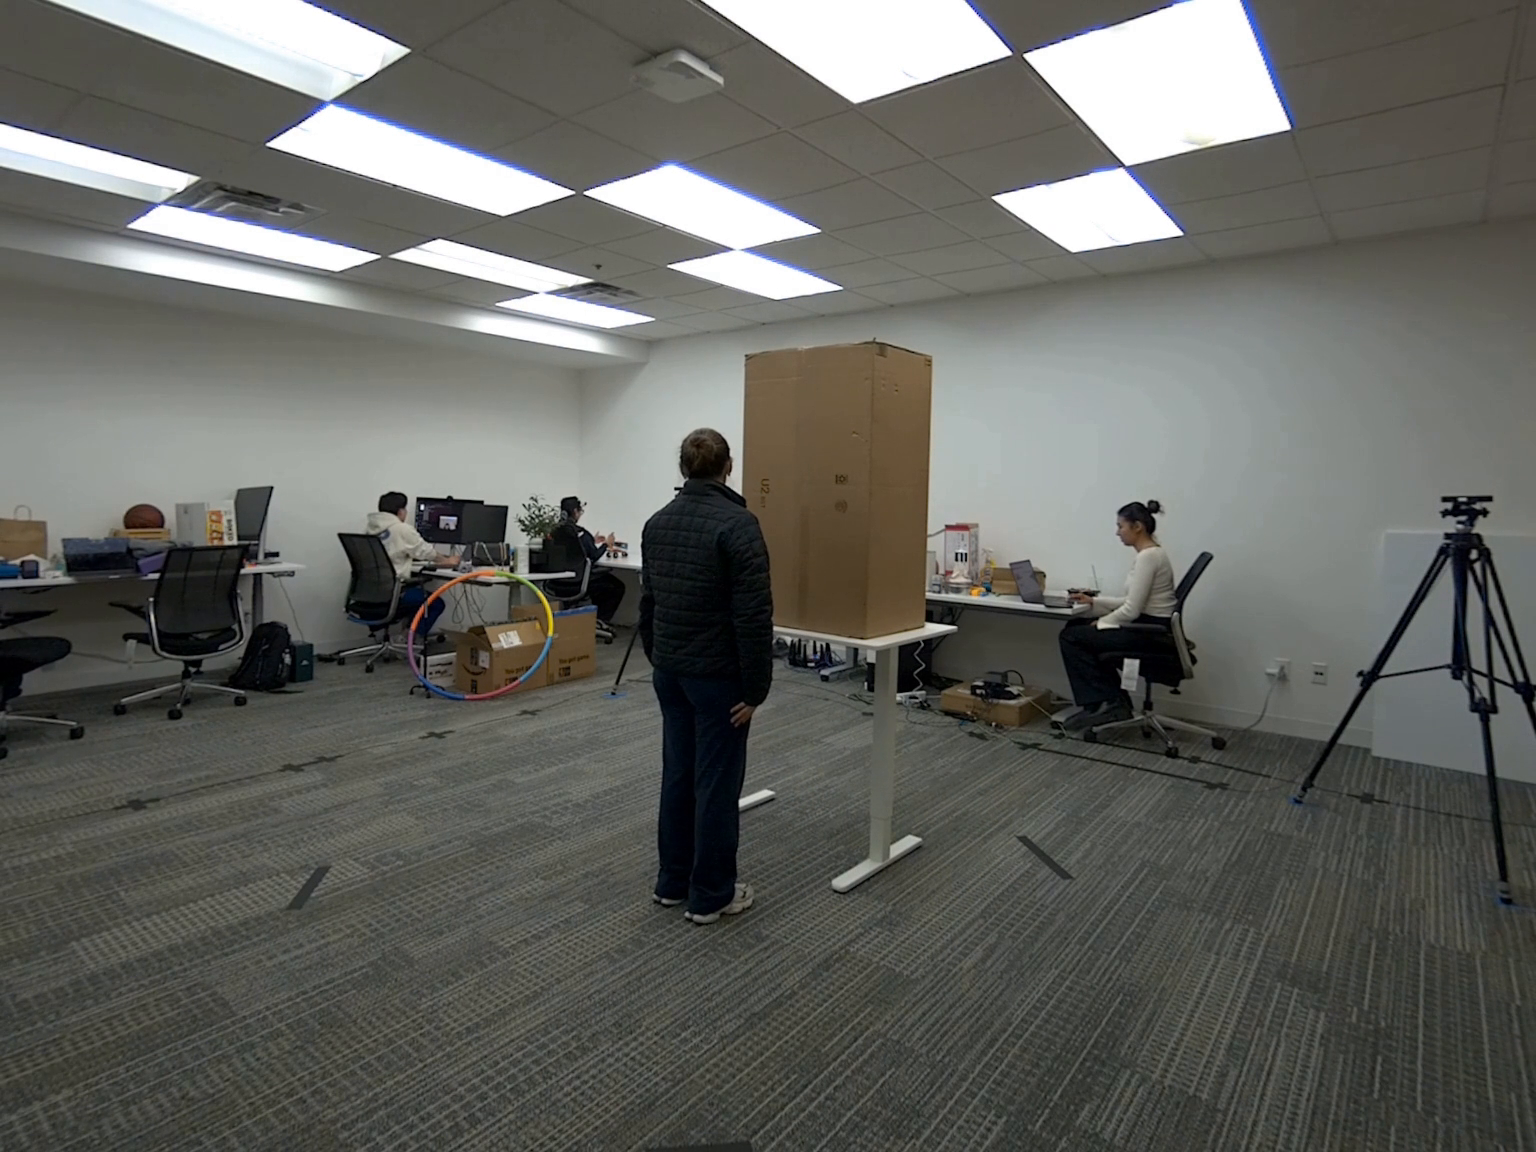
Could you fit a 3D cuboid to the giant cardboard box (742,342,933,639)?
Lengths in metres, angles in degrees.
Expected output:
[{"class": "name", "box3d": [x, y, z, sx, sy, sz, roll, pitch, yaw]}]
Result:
[{"class": "giant cardboard box", "box3d": [0.271, -0.330, 3.240, 0.604, 1.024, 0.433, 5, 4, 42]}]
